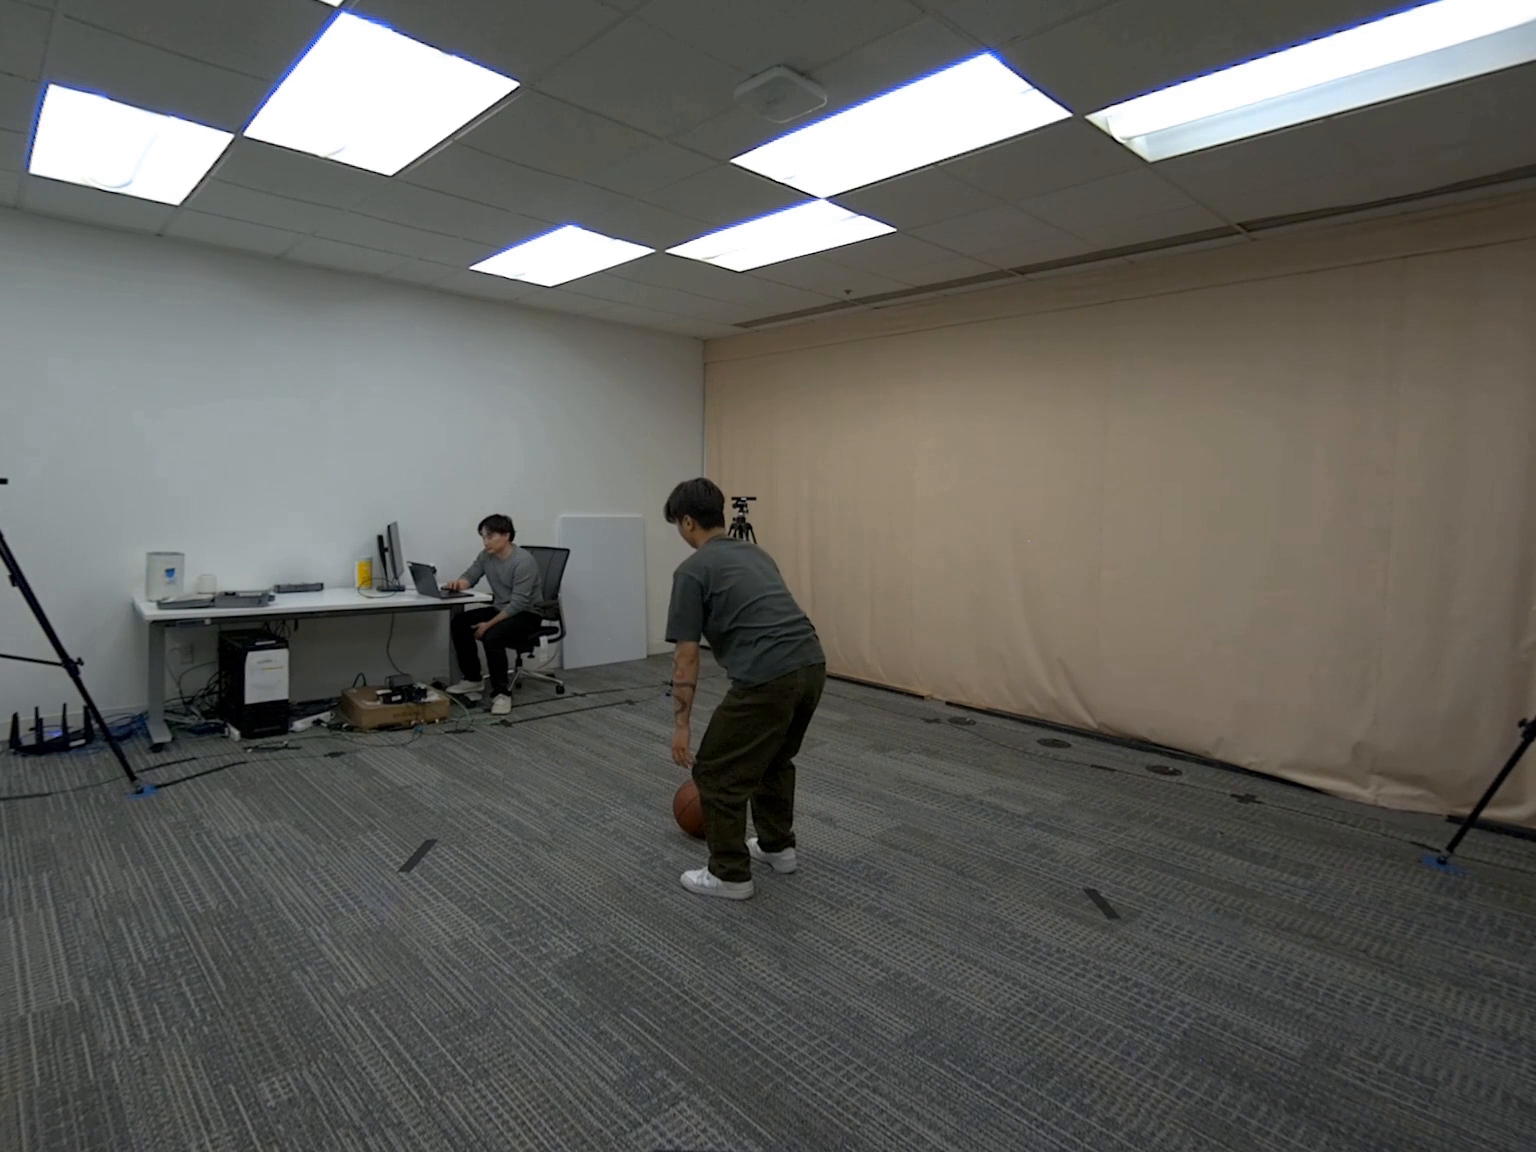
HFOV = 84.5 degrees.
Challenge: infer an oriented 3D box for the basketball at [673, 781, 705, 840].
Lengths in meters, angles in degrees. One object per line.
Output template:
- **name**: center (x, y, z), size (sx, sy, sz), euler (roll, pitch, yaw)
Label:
- **basketball**: center (-0.280, 0.946, 3.475), size (0.236, 0.235, 0.237), euler (1, 4, -1)
